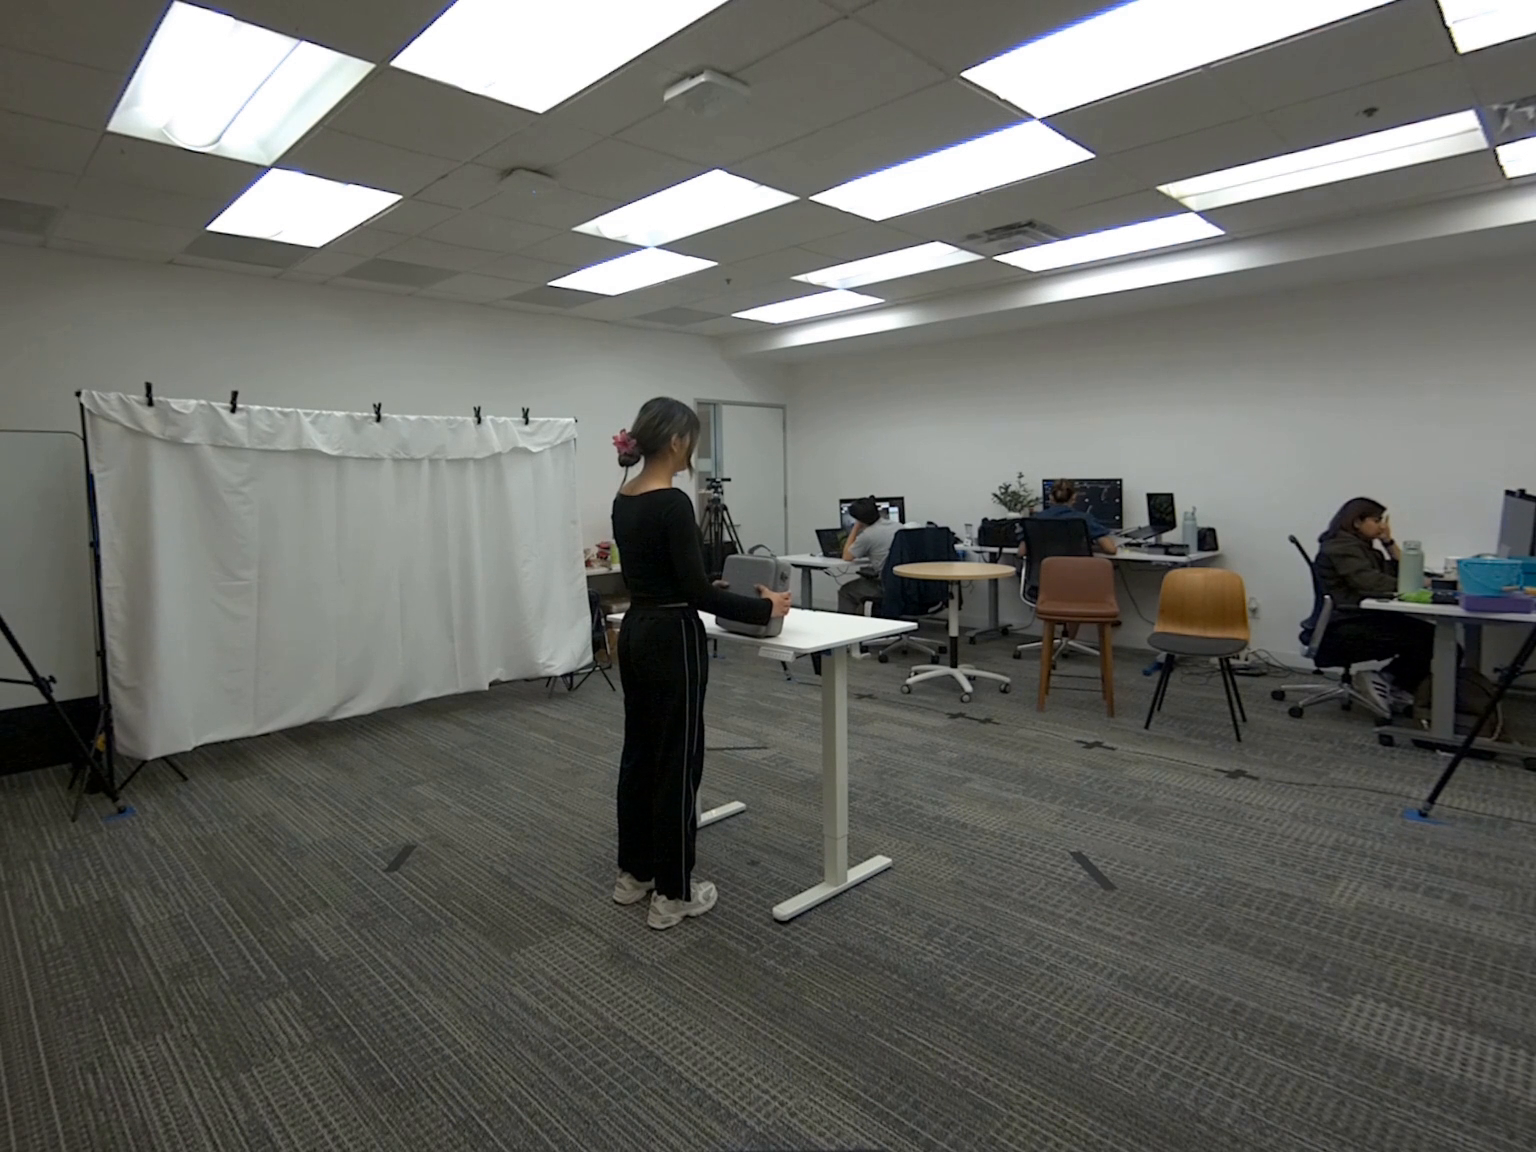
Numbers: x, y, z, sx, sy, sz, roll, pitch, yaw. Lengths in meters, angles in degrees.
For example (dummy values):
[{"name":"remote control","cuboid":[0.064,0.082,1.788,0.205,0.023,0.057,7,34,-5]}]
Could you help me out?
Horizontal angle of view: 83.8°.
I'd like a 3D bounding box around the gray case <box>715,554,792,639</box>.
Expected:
[{"name":"gray case","cuboid":[-0.047,0.061,2.816,0.101,0.261,0.265,12,-4,-38]}]
